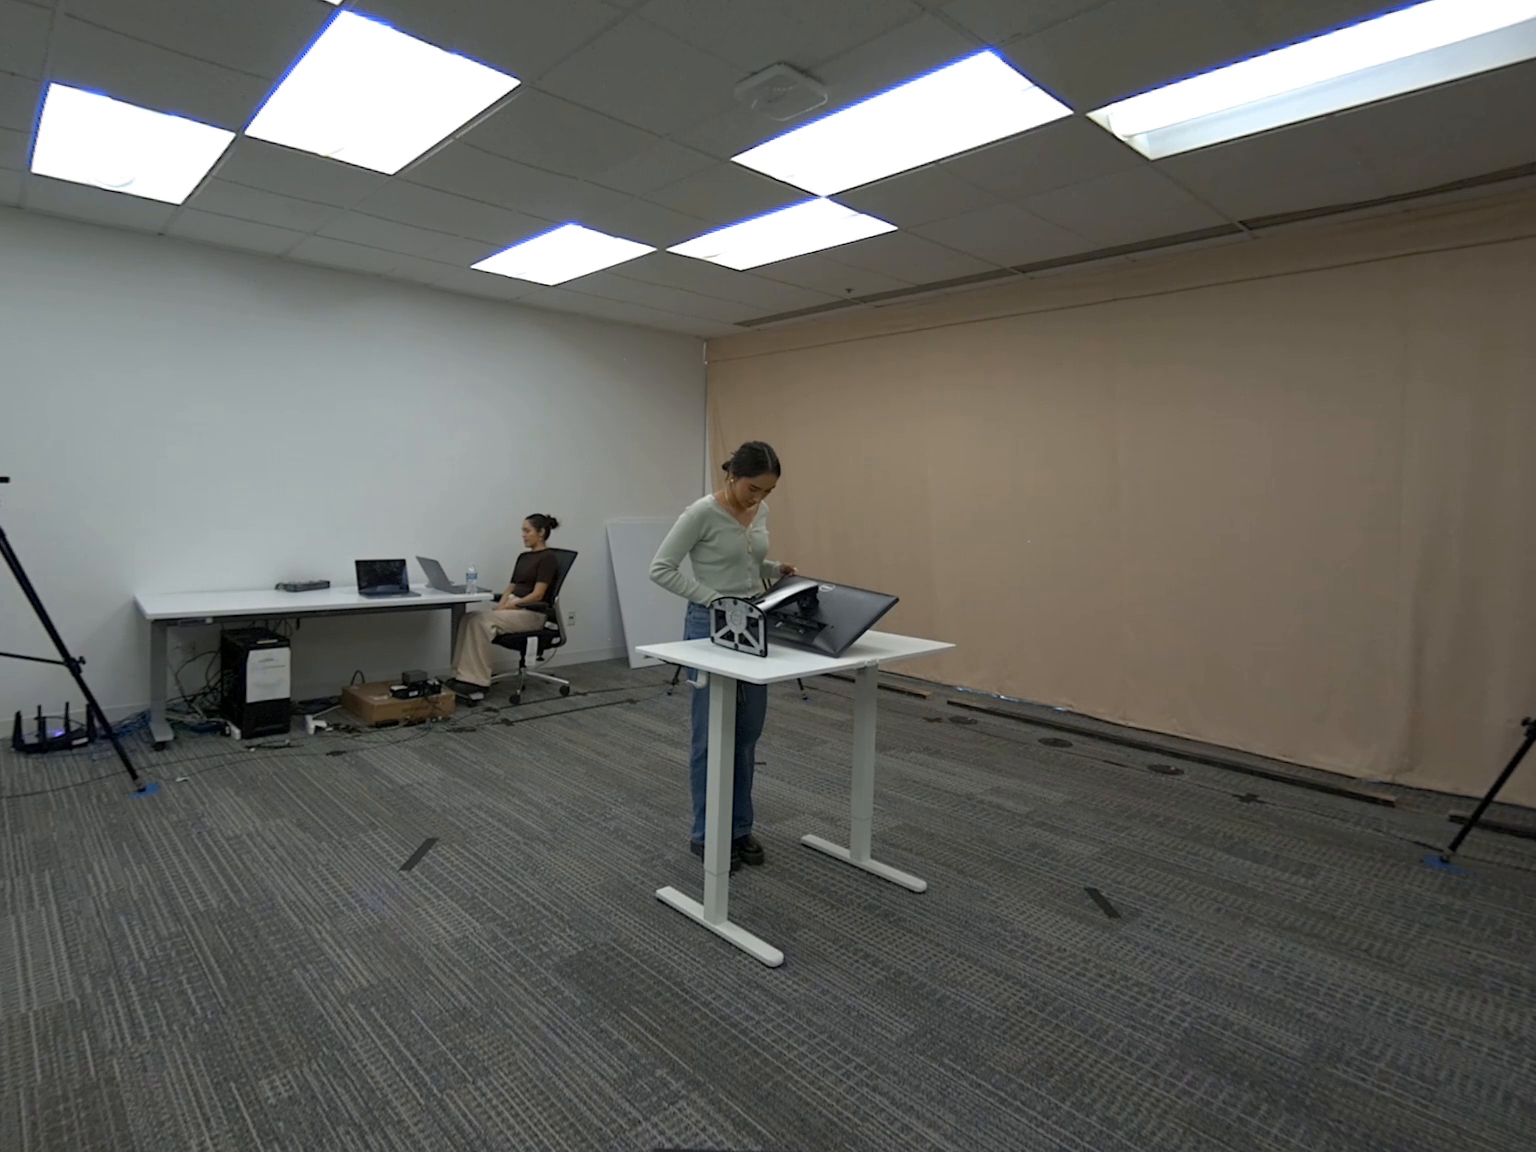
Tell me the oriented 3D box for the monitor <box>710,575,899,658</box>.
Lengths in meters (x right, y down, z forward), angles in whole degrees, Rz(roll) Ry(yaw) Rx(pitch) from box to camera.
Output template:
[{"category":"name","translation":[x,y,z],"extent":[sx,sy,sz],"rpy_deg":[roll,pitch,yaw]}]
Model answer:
[{"category":"monitor","translation":[0.072,0.117,2.917],"extent":[0.513,0.185,0.554],"rpy_deg":[-14,19,-40]}]
